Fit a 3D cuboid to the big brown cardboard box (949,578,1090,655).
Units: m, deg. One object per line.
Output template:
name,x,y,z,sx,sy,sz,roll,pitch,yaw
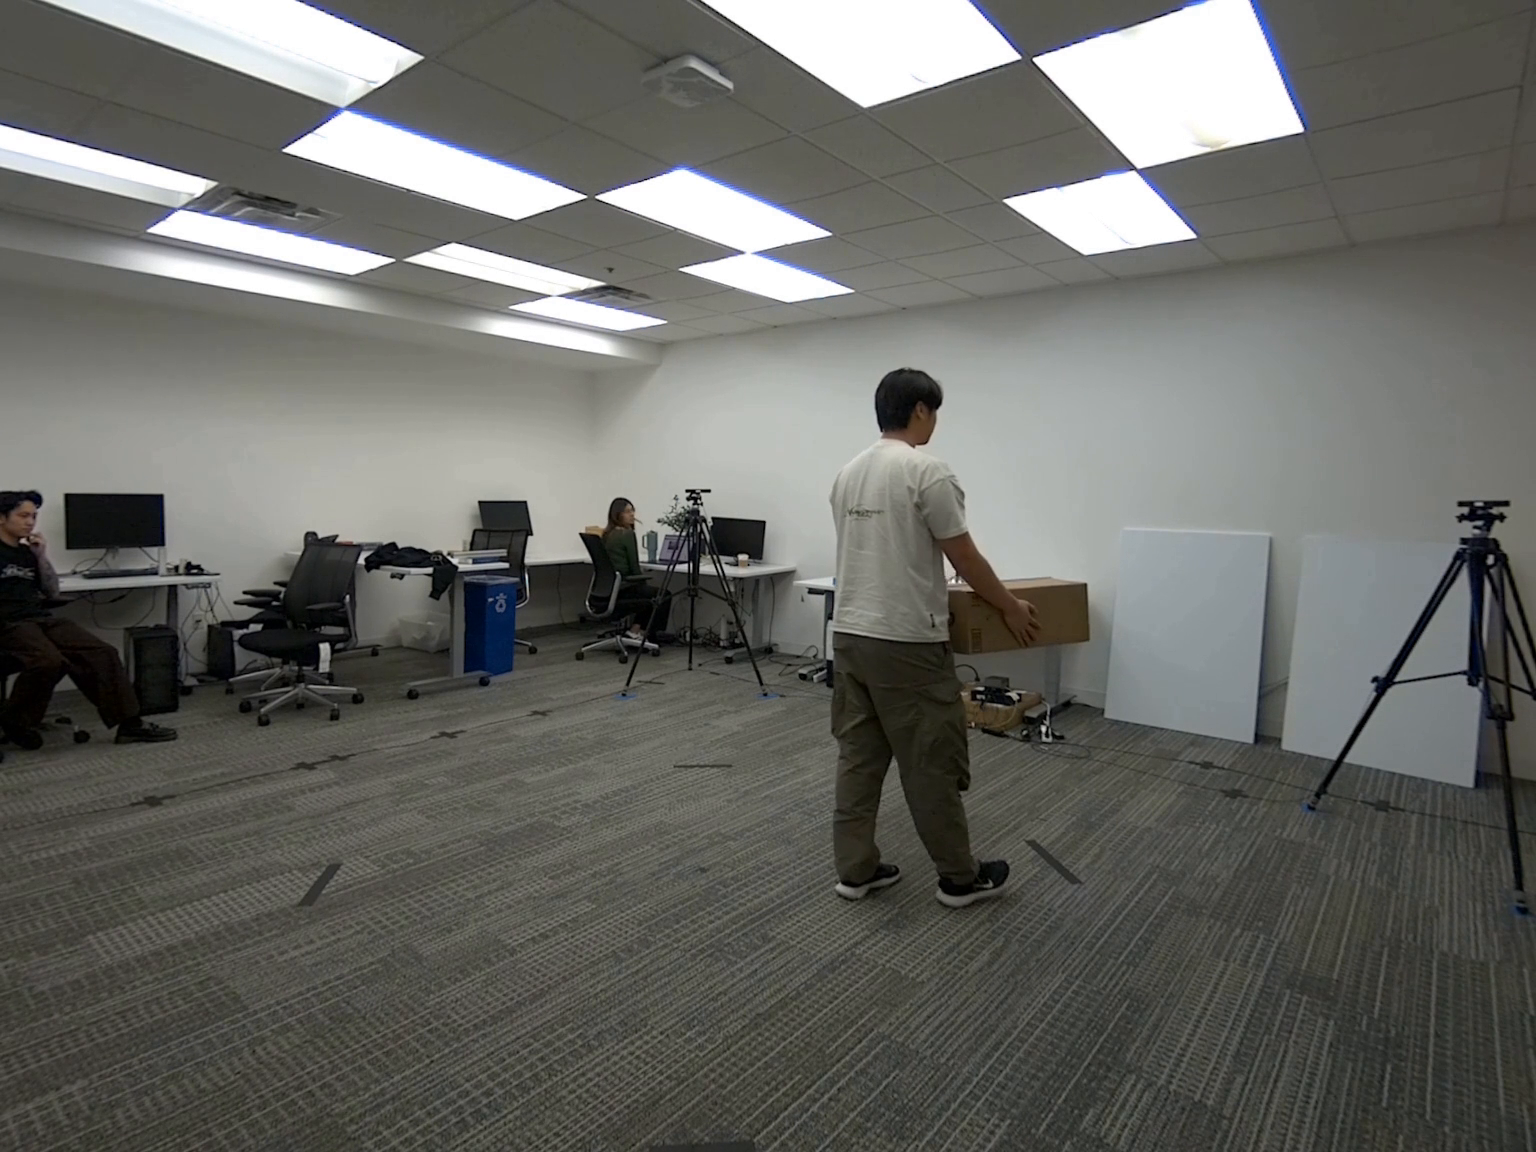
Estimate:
big brown cardboard box,0.822,0.139,3.156,0.575,0.232,0.429,-5,4,-27
